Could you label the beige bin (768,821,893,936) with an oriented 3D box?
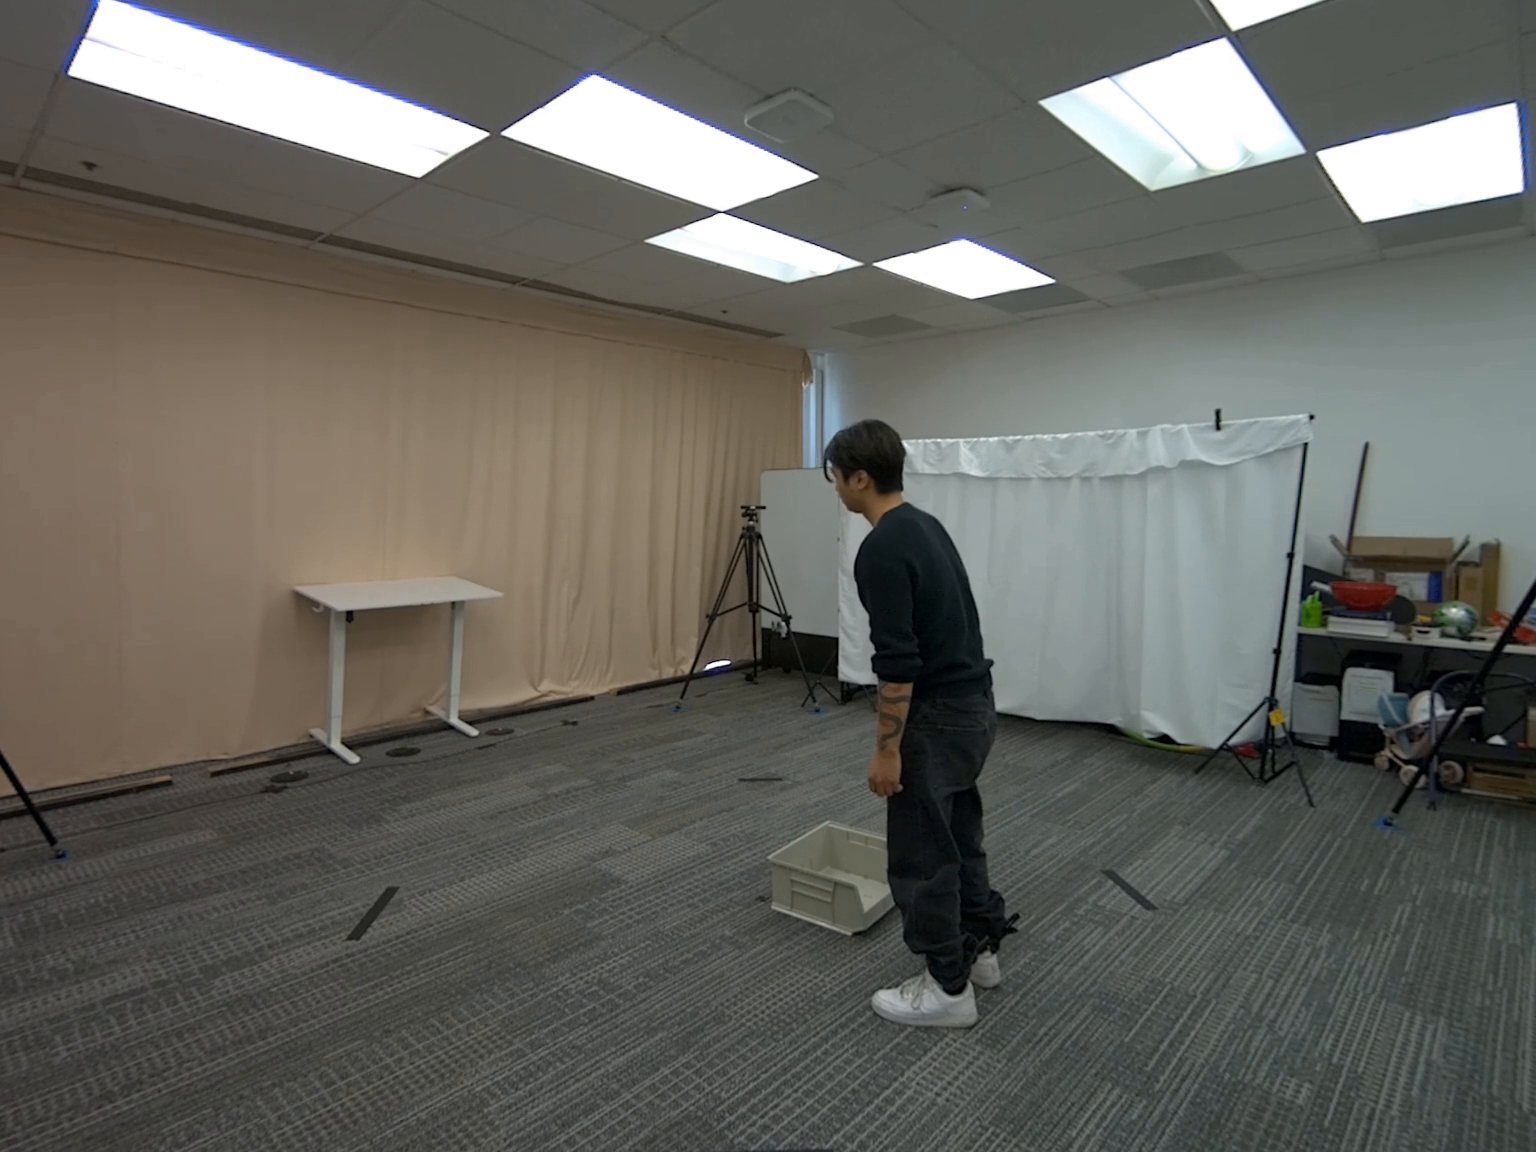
[{"bbox_3d":[0.273,1.054,2.962,0.389,0.188,0.410,2,6,36],"label":"beige bin"}]
